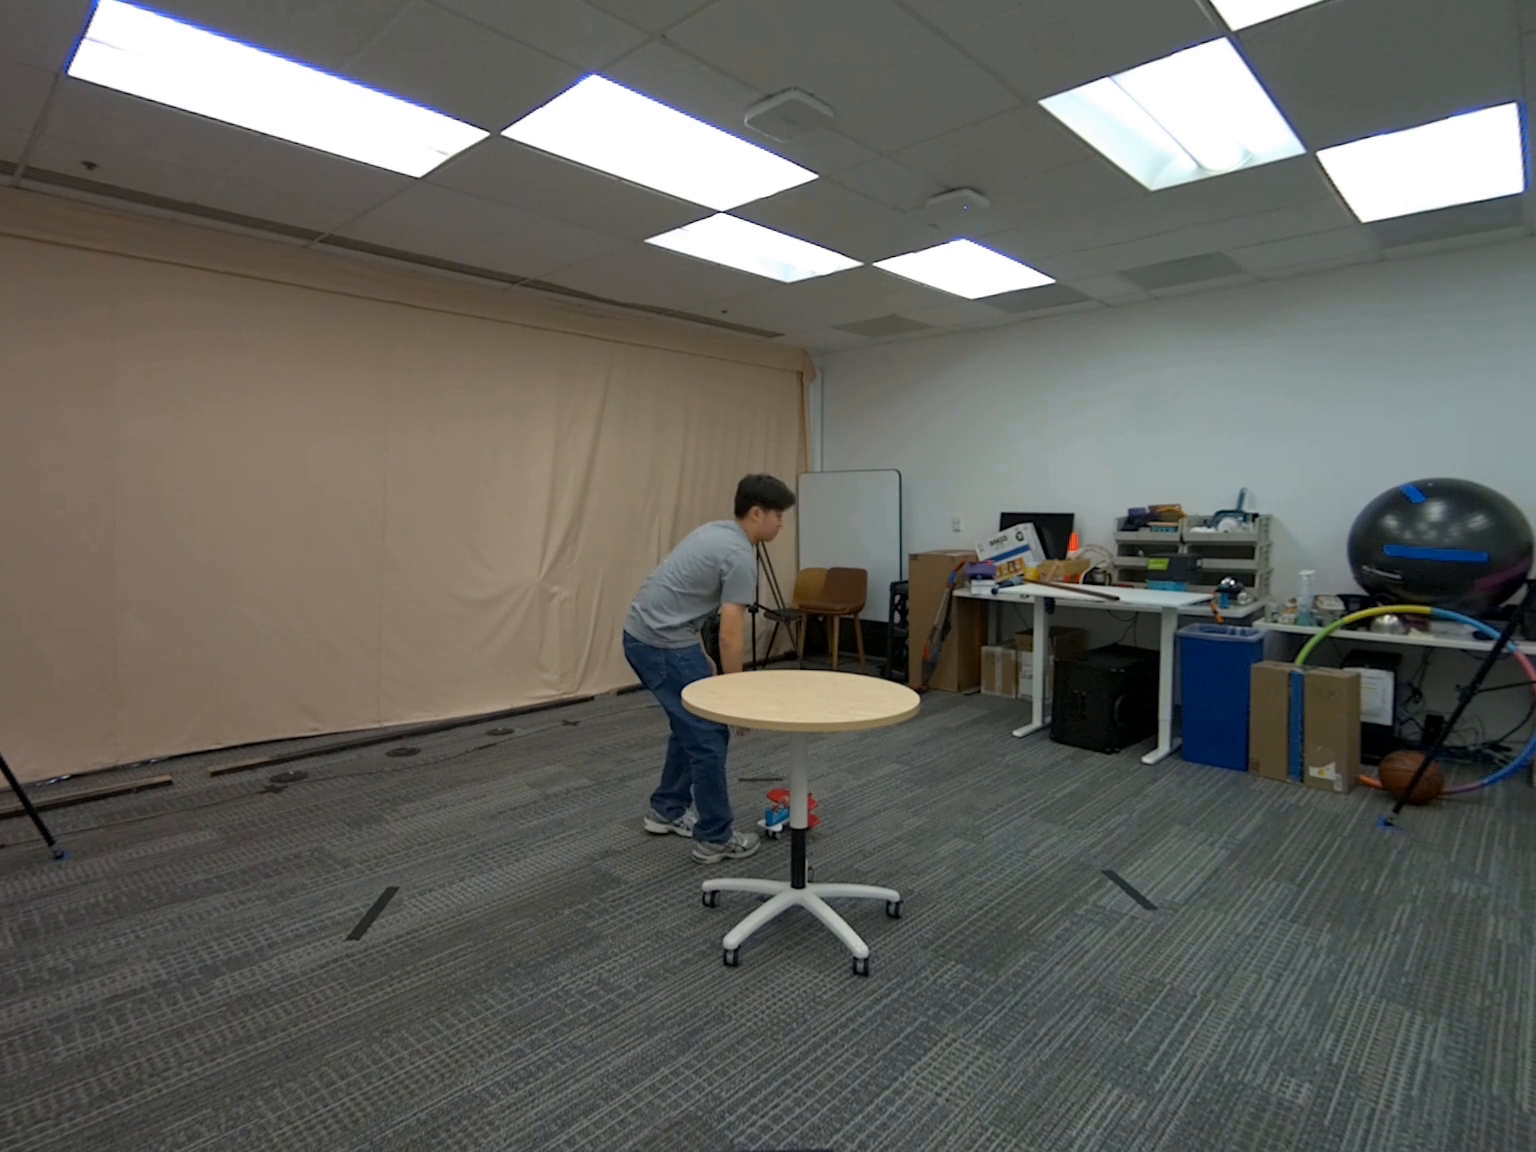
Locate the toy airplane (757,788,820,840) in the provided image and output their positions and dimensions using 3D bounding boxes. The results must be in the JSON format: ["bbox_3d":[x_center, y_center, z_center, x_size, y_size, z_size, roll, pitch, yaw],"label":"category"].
[{"bbox_3d":[0.100,1.019,3.570,0.256,0.156,0.255,1,3,17],"label":"toy airplane"}]
